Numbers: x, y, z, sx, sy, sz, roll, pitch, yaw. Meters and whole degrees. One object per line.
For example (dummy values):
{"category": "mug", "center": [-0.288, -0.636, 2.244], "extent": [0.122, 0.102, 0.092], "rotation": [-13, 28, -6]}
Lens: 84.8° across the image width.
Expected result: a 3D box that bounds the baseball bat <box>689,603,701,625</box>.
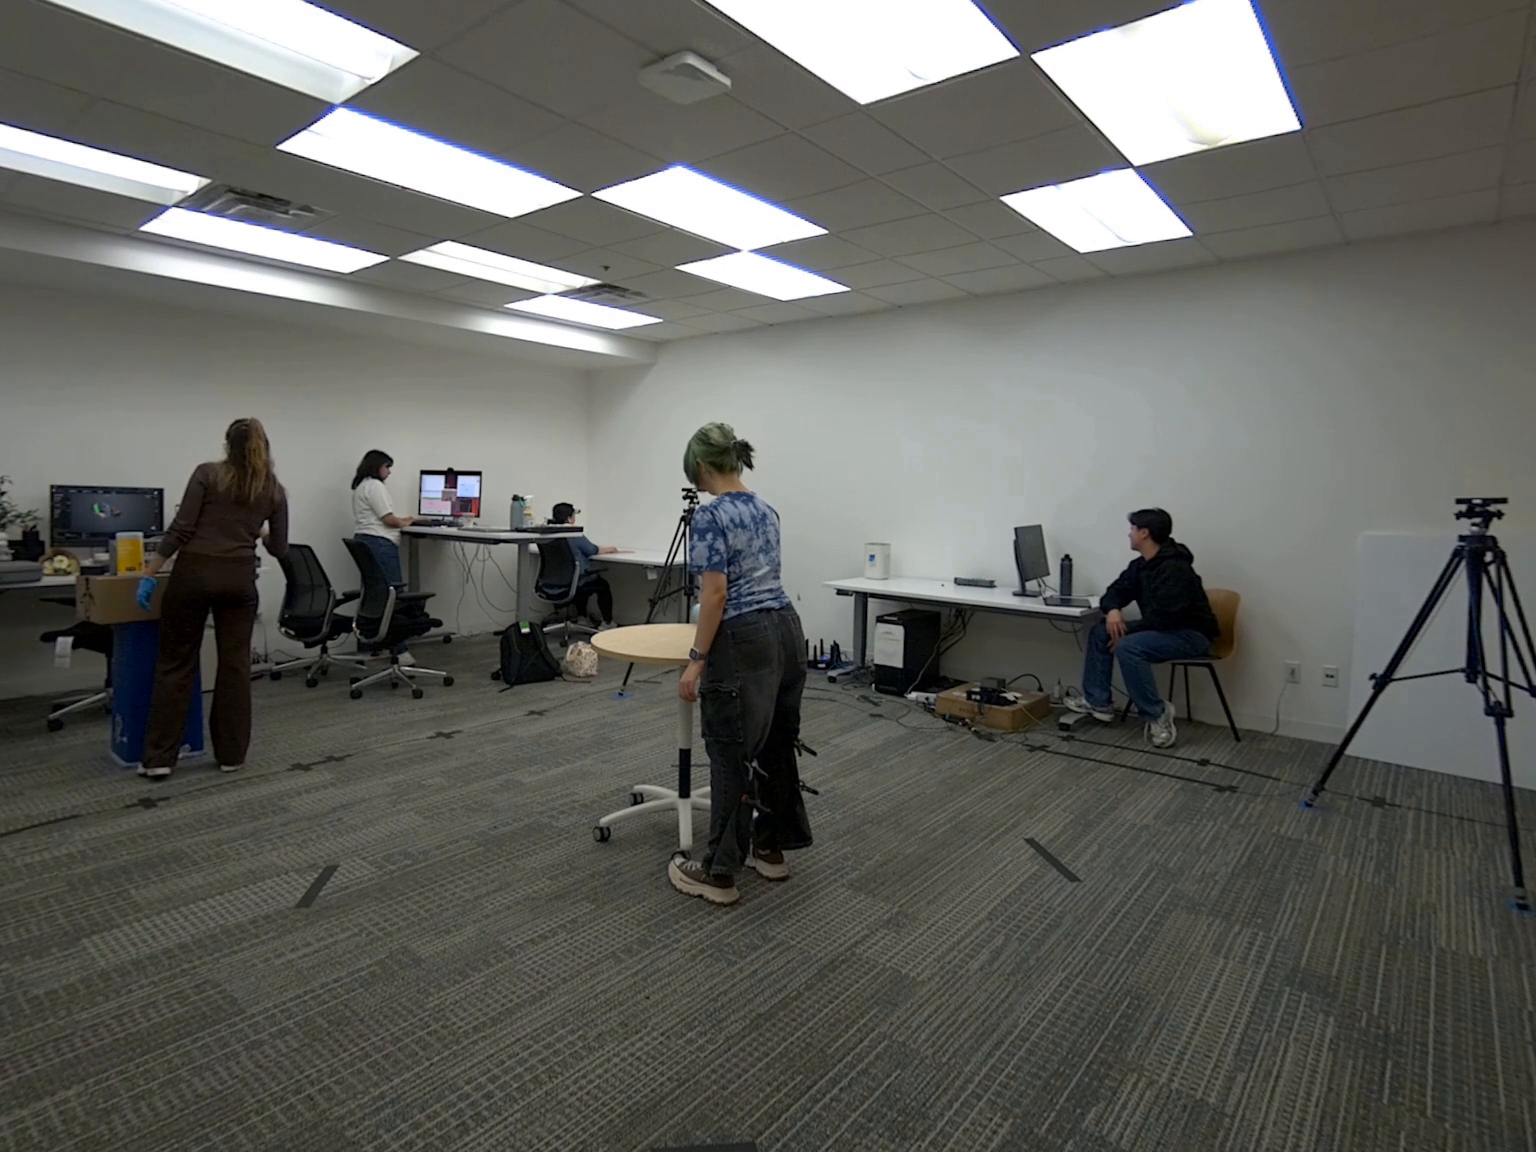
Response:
{"category": "baseball bat", "center": [-0.160, 0.200, 3.589], "extent": [0.086, 0.088, 0.562], "rotation": [-2, 10, -35]}
